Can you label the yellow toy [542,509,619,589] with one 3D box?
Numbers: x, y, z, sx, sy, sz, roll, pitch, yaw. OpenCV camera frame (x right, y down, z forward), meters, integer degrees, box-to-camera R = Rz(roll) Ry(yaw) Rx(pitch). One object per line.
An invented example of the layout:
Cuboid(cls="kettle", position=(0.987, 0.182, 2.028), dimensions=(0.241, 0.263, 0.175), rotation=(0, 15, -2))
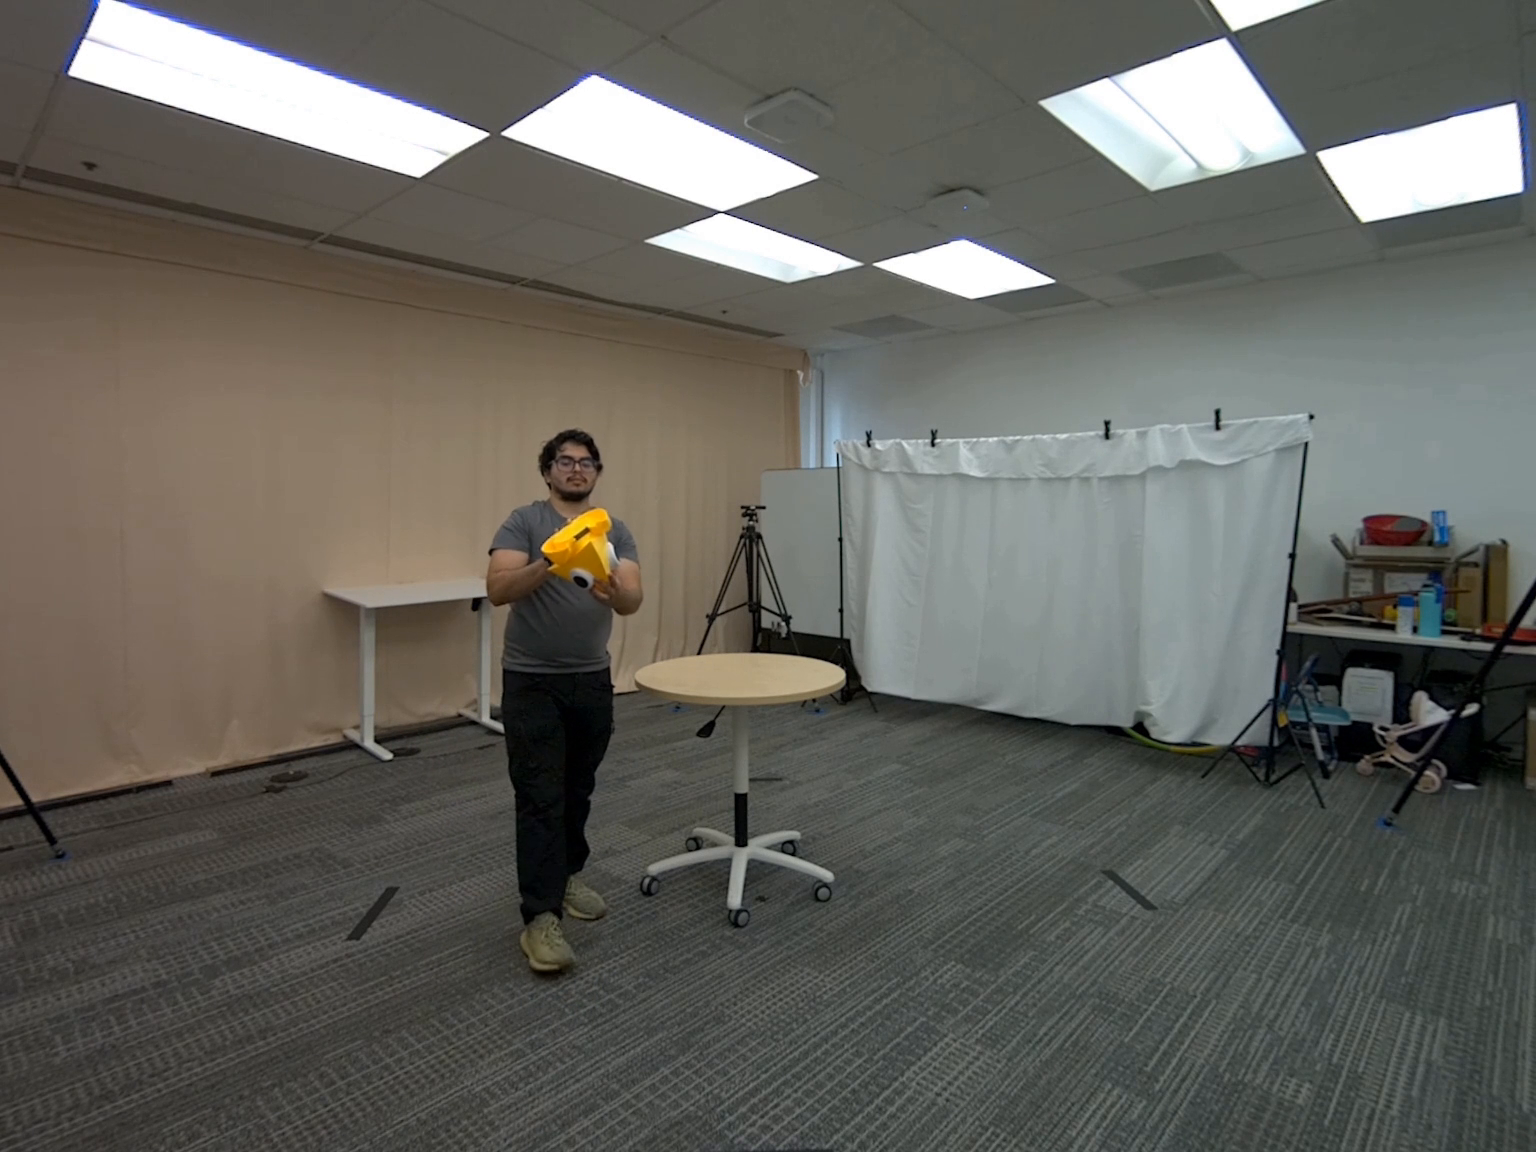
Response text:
Cuboid(cls="yellow toy", position=(-0.491, -0.039, 2.364), dimensions=(0.203, 0.225, 0.199), rotation=(-39, 27, -21))
